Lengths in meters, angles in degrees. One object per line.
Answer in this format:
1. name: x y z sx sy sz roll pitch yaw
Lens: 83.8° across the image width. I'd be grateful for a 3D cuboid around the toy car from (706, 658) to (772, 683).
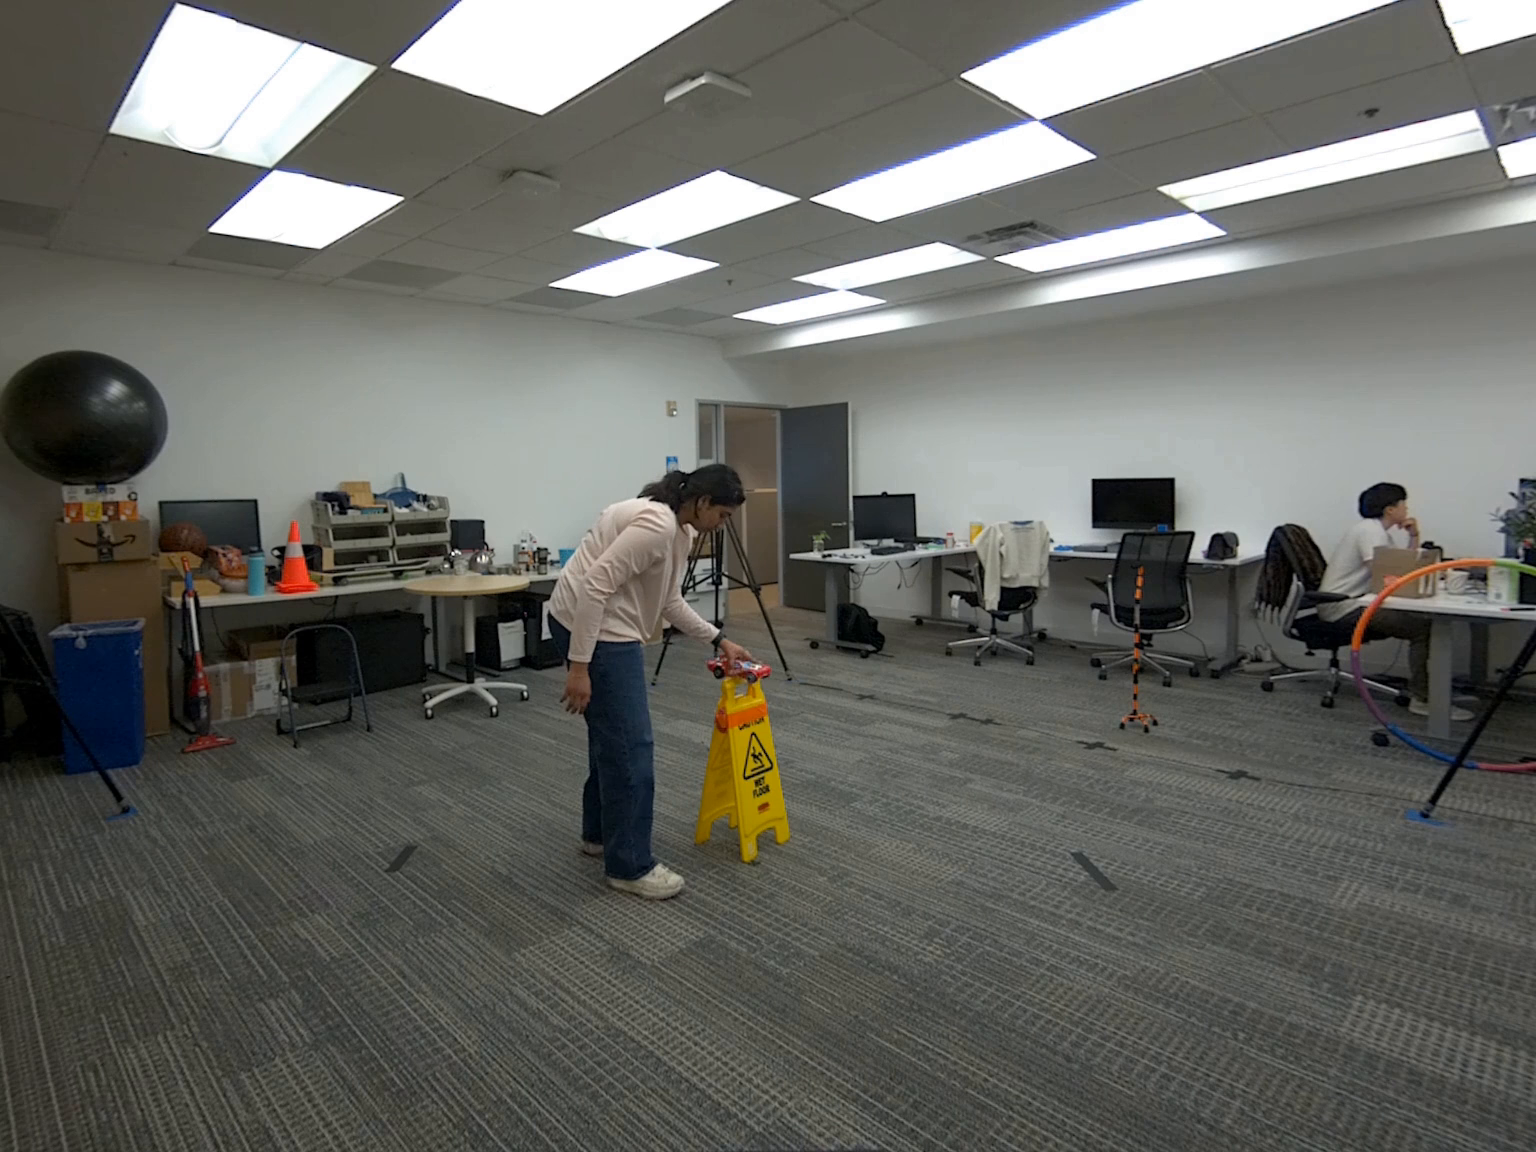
1. toy car: -0.118 0.360 3.251 0.263 0.082 0.127 16 15 33
